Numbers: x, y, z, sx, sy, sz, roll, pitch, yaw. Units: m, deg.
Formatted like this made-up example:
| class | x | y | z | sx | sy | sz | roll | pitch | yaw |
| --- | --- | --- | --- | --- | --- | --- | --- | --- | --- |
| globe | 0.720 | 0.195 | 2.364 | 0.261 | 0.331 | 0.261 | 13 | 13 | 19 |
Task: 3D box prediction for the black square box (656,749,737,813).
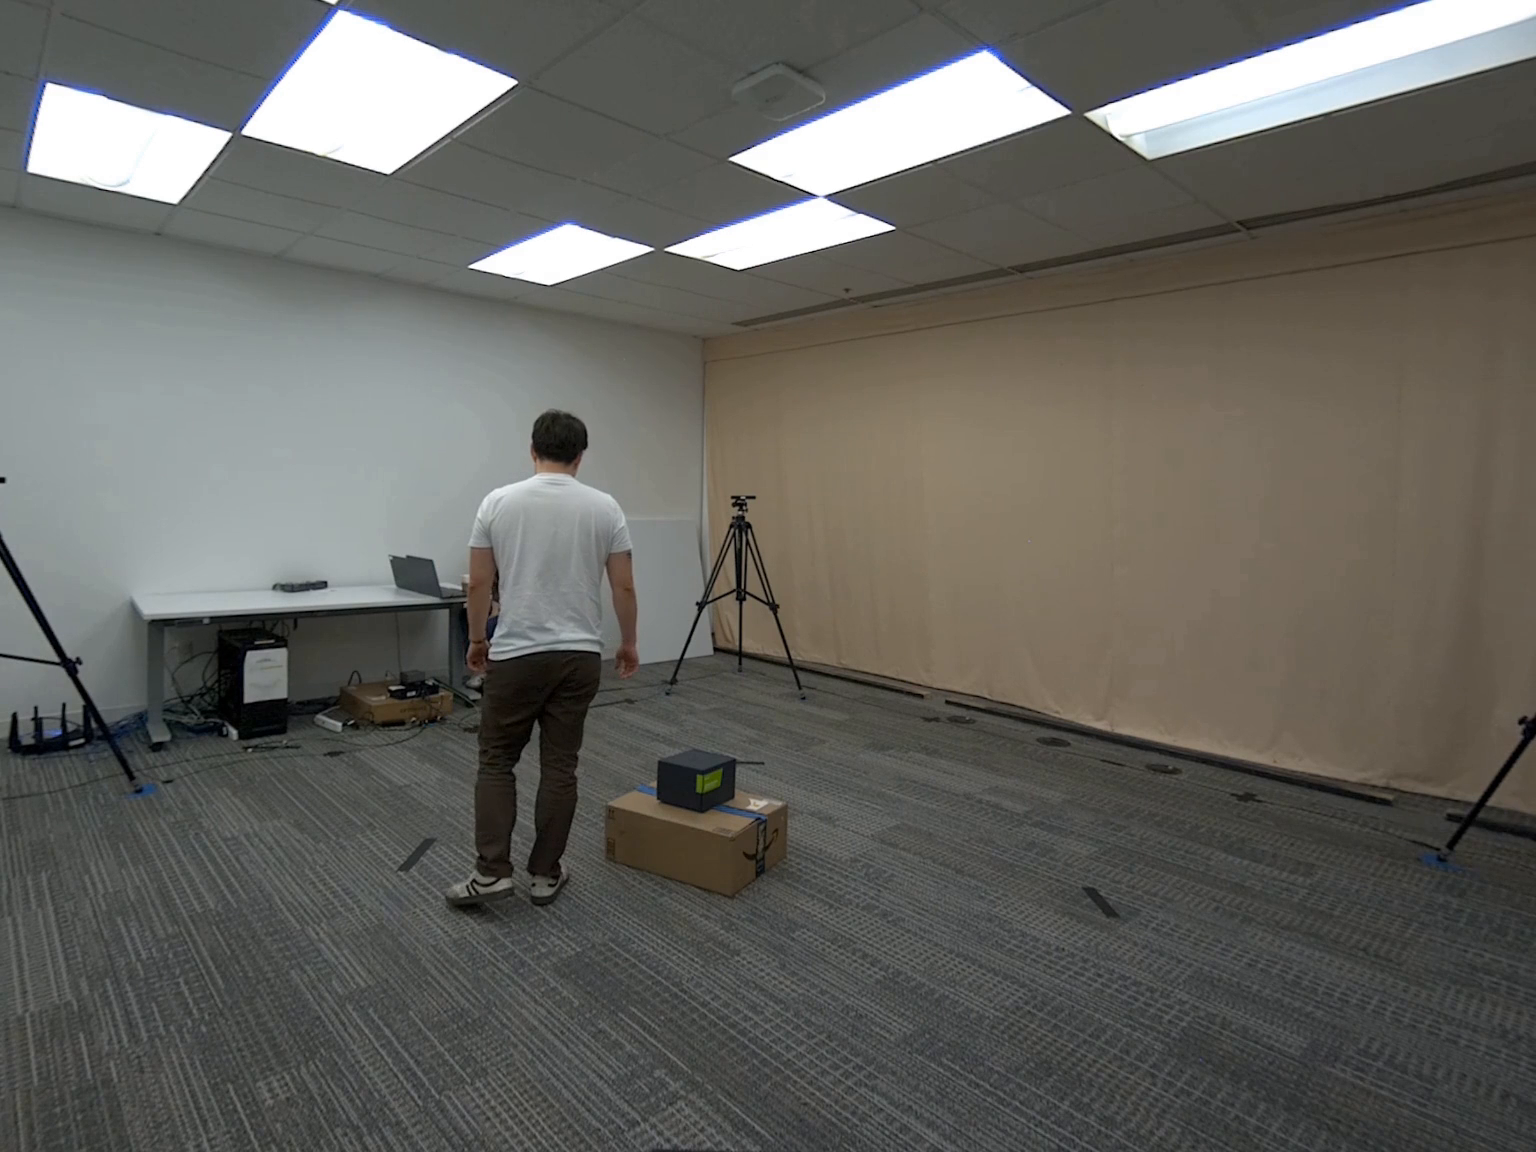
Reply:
| class | x | y | z | sx | sy | sz | roll | pitch | yaw |
| --- | --- | --- | --- | --- | --- | --- | --- | --- | --- |
| black square box | -0.284 | 0.783 | 3.257 | 0.222 | 0.156 | 0.223 | 4 | 3 | 32 |
